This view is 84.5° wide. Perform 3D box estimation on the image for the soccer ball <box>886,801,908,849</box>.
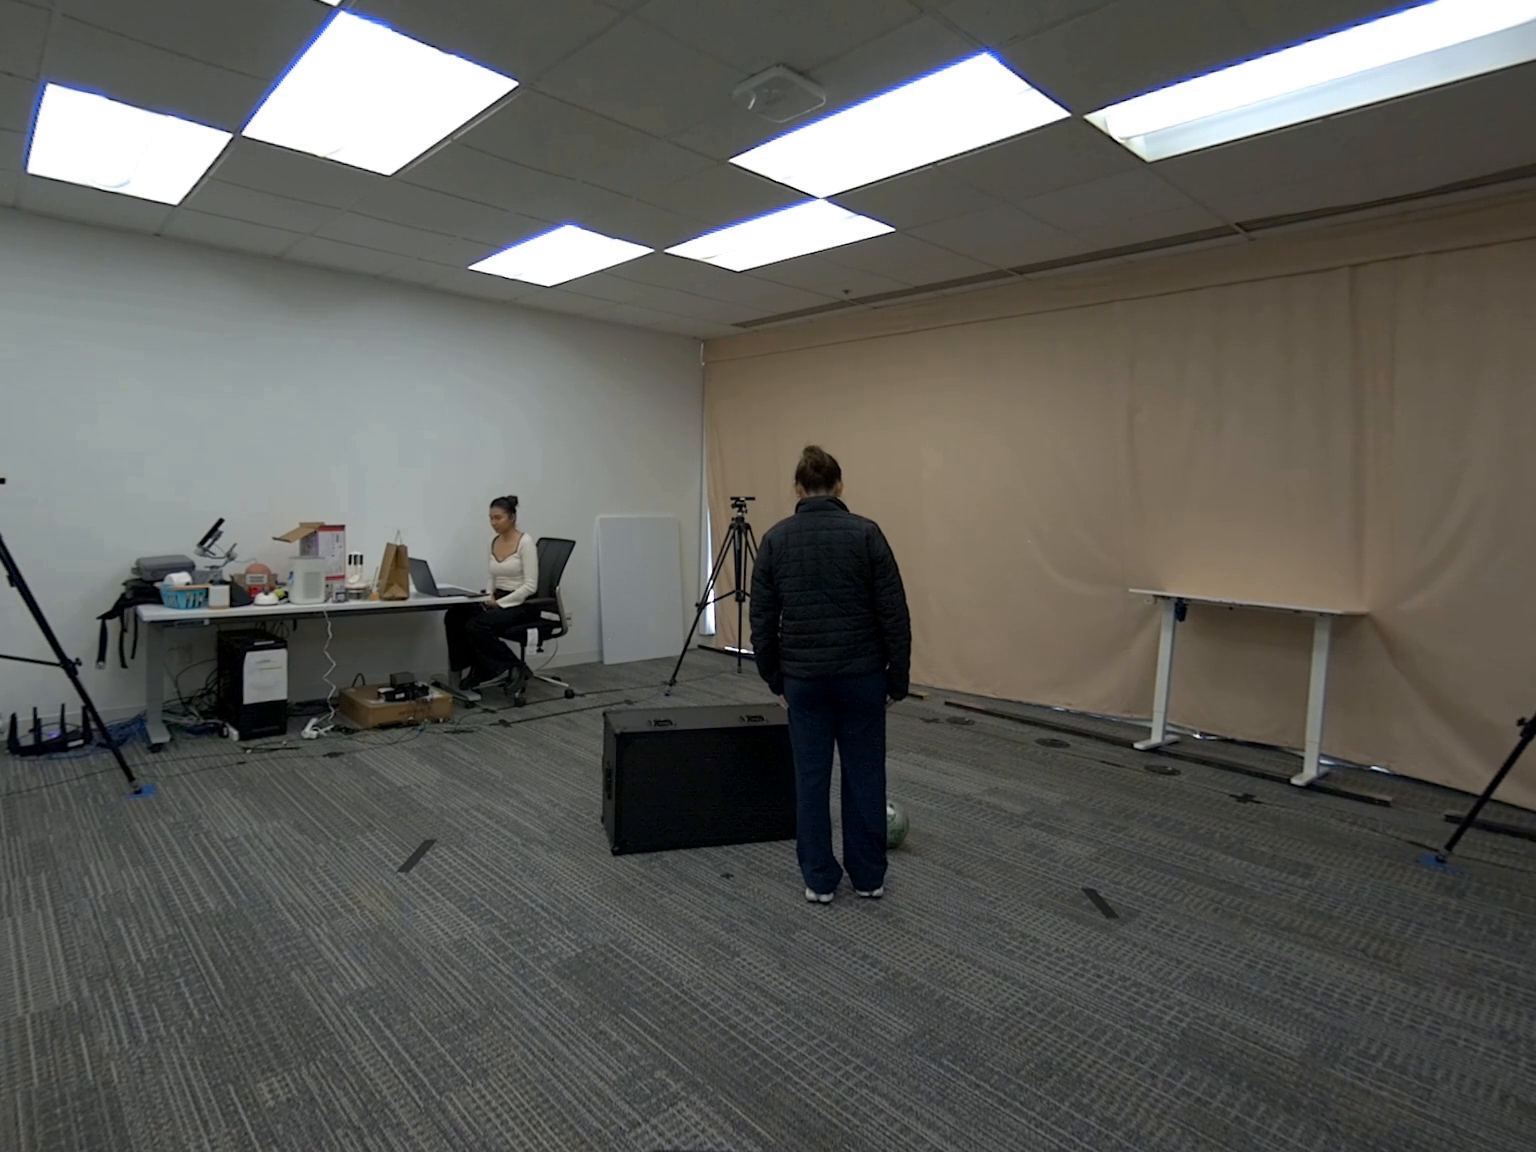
[{"bbox_3d":[0.468,1.004,3.413,0.187,0.187,0.188,1,4,-1],"label":"soccer ball"}]
